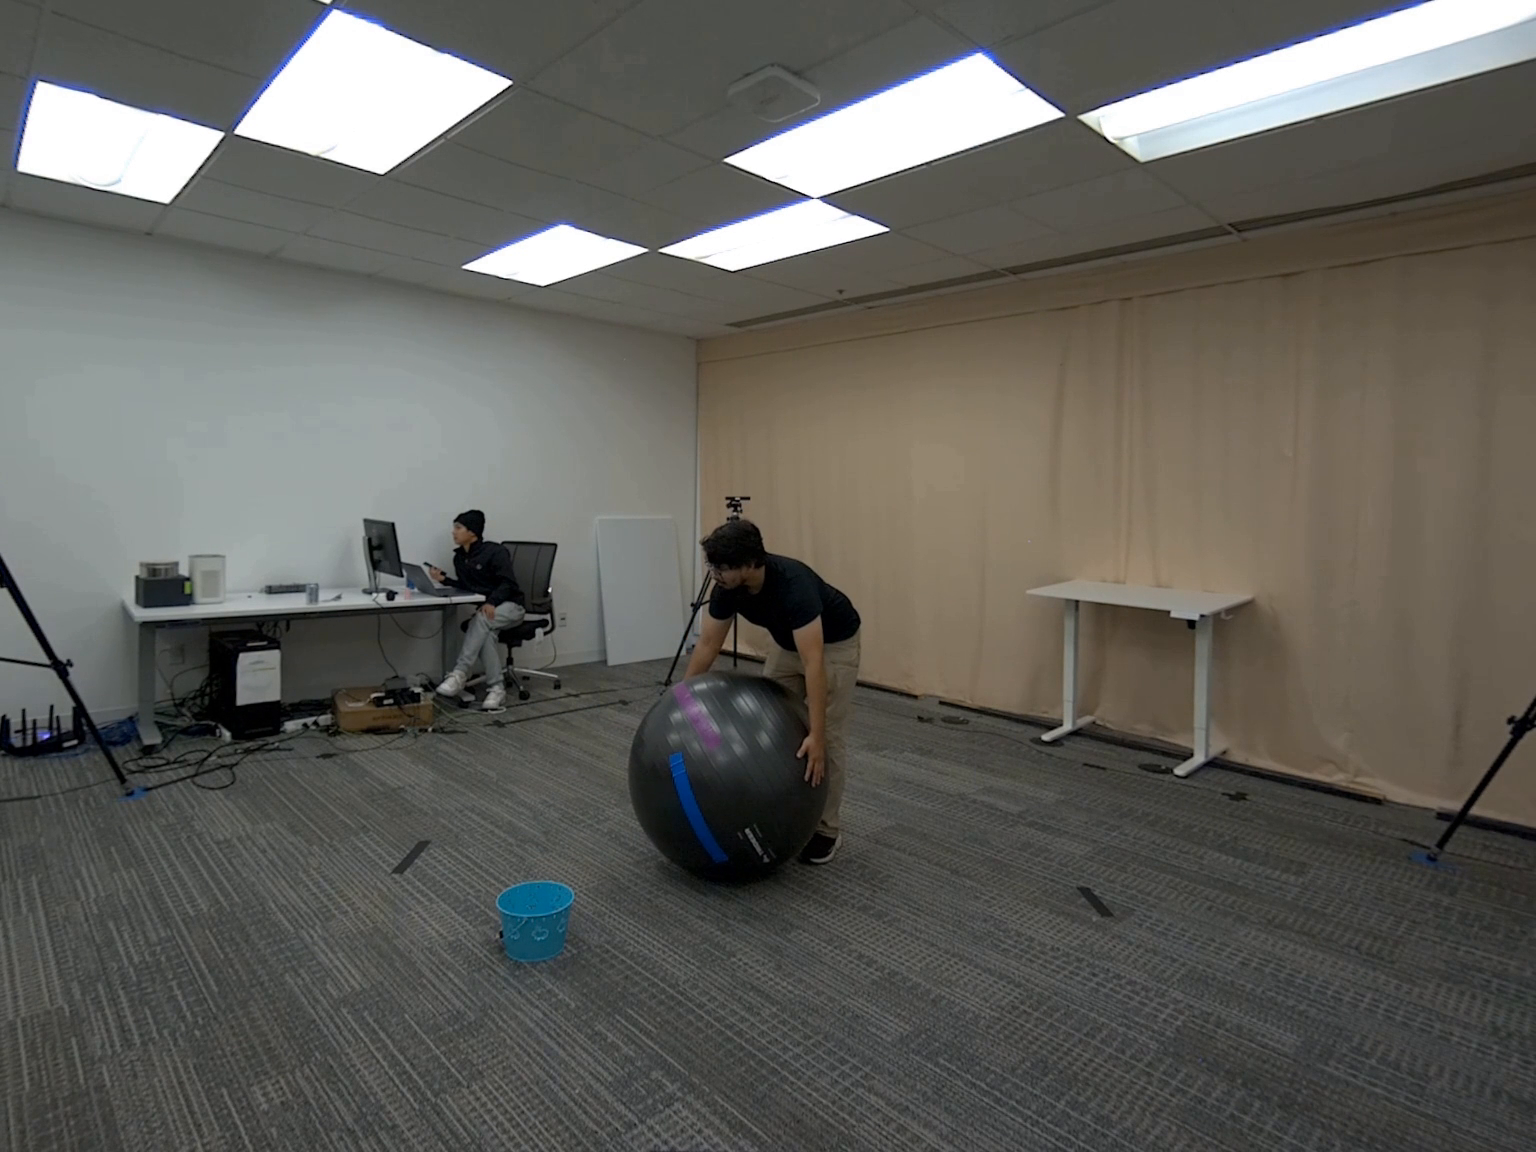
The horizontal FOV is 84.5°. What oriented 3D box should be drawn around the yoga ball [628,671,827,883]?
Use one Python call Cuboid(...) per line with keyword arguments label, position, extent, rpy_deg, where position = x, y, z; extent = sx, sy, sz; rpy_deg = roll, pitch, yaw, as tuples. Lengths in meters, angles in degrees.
Cuboid(label="yoga ball", position=(-0.150, 0.740, 3.162), extent=(0.757, 0.756, 0.761), rpy_deg=(1, 4, -1))
